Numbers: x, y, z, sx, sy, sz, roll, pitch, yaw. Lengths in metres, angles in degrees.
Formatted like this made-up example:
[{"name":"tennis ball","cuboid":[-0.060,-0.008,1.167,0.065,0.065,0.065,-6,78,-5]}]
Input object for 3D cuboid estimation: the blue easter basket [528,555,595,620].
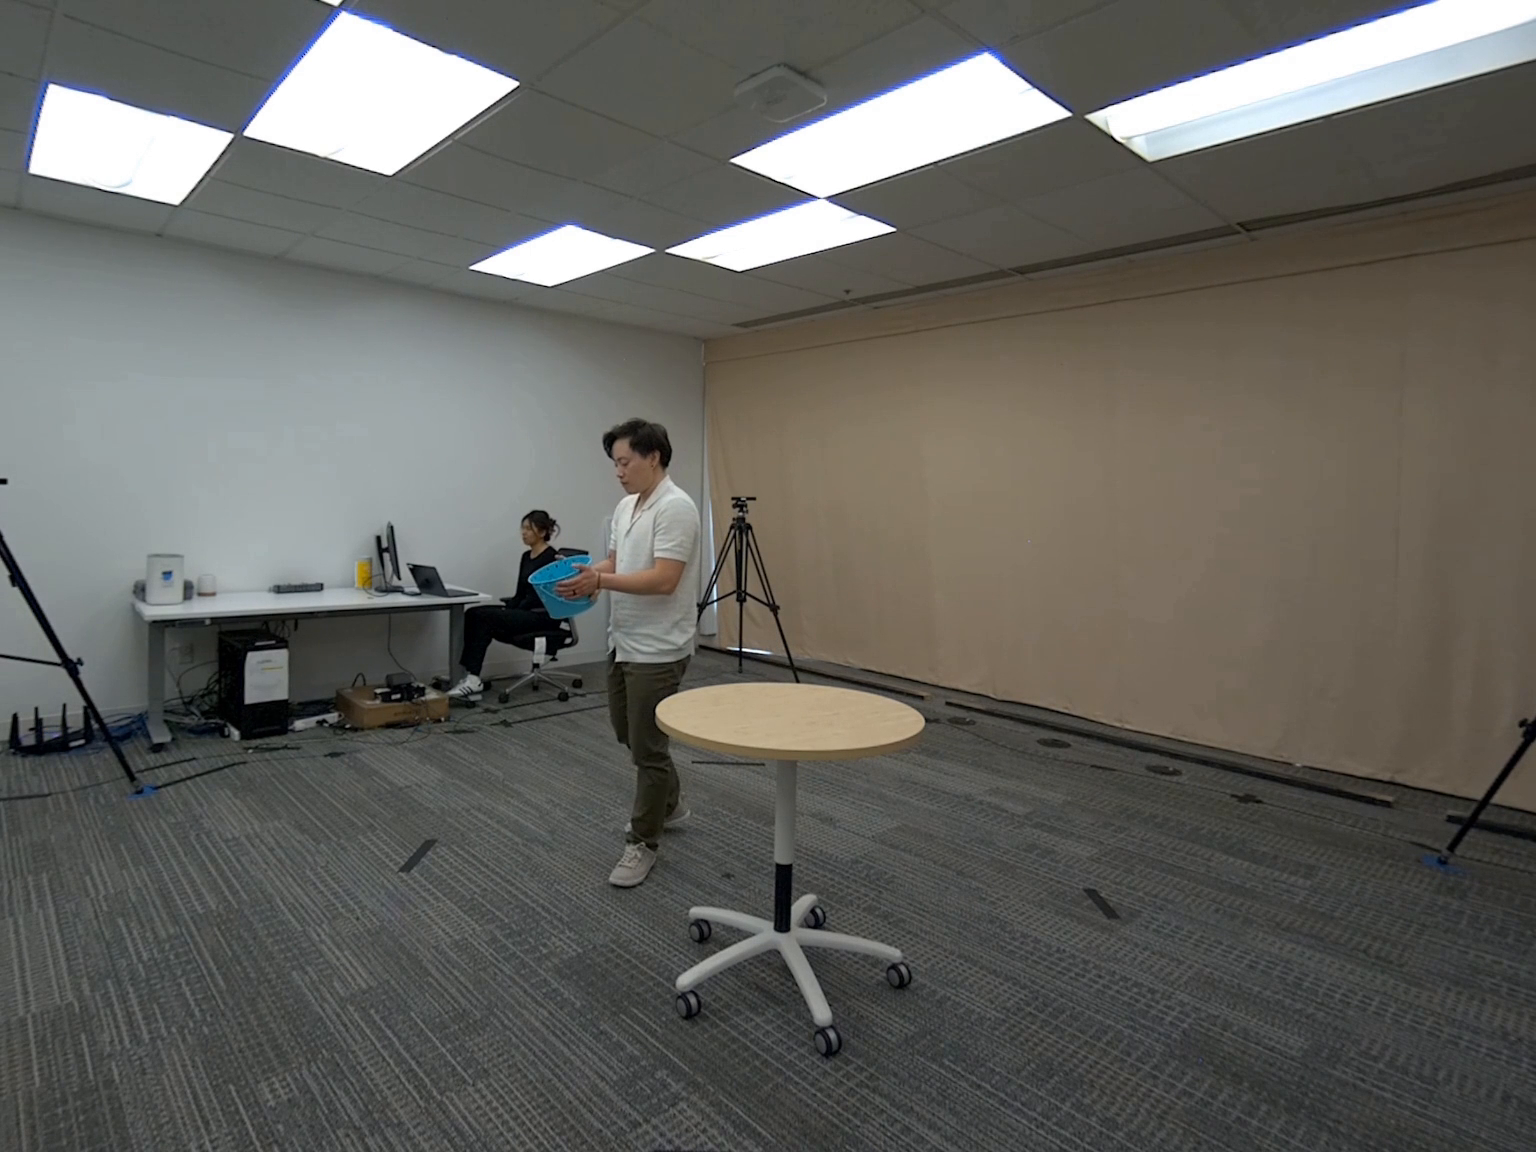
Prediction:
[{"name":"blue easter basket","cuboid":[-0.731,0.048,3.019,0.244,0.154,0.246,-13,17,2]}]
